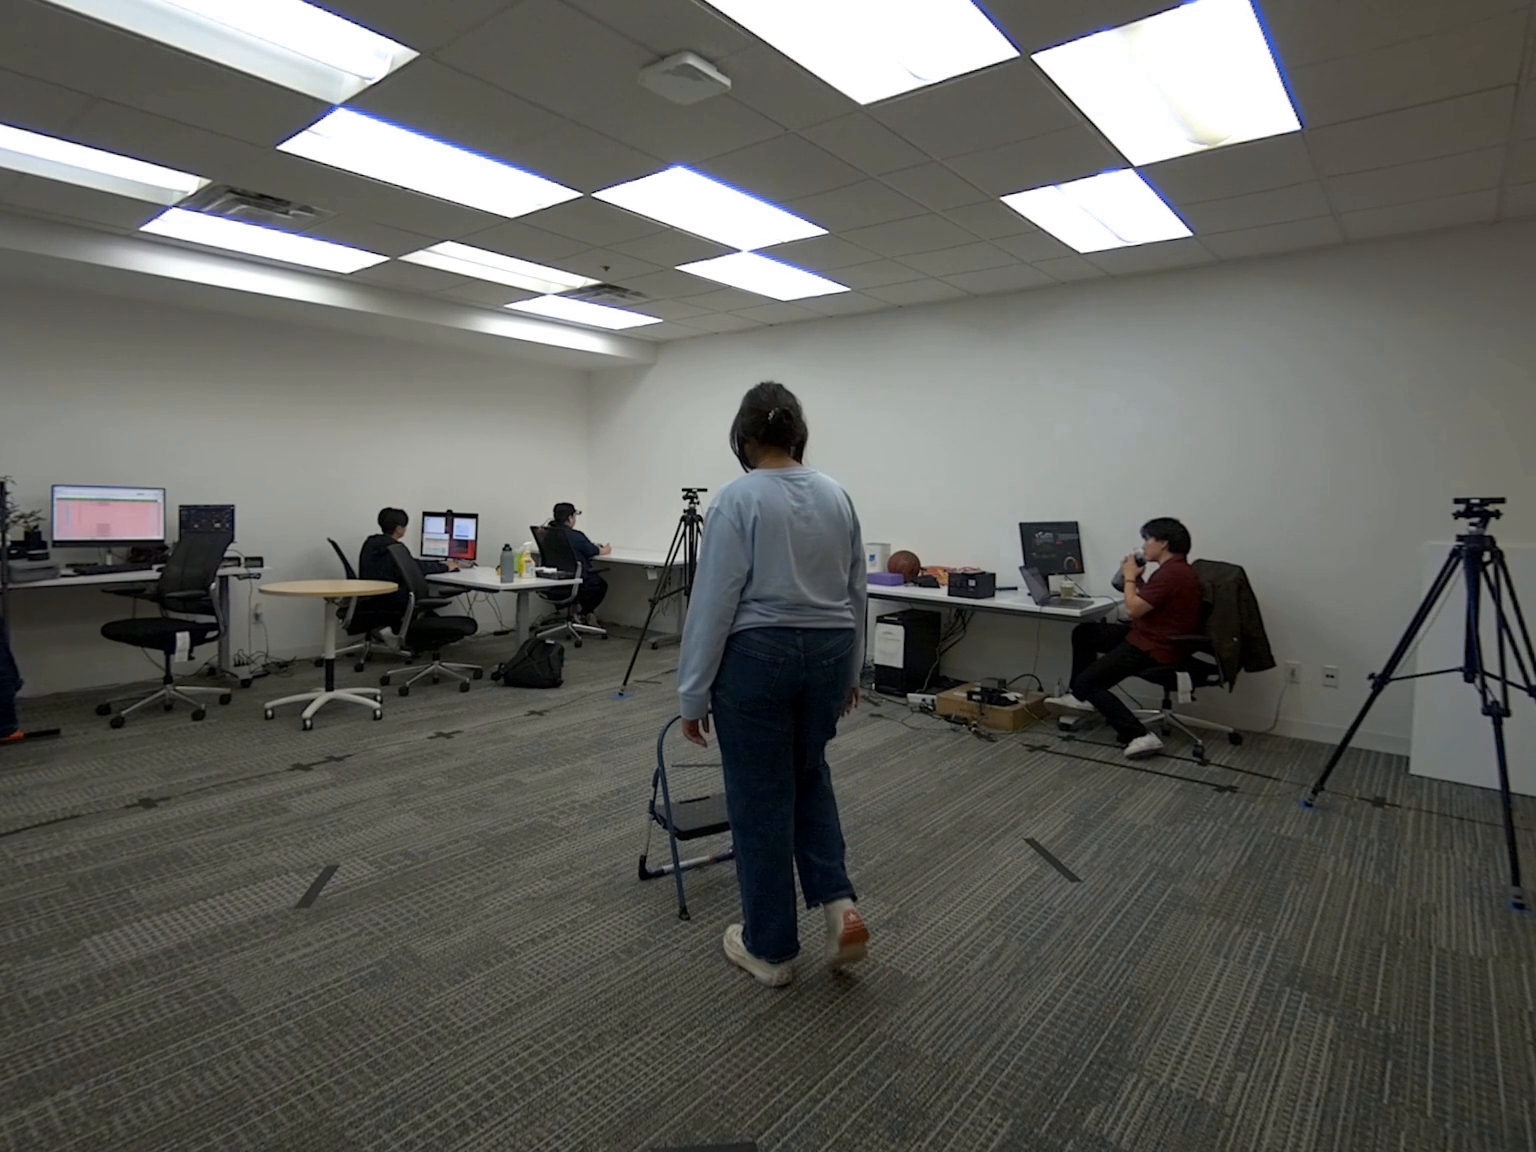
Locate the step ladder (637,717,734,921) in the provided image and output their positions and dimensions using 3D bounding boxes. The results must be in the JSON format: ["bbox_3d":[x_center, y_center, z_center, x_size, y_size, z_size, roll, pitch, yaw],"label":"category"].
[{"bbox_3d":[-0.201,0.781,2.975,0.418,0.604,0.360,-1,4,-34],"label":"step ladder"}]
